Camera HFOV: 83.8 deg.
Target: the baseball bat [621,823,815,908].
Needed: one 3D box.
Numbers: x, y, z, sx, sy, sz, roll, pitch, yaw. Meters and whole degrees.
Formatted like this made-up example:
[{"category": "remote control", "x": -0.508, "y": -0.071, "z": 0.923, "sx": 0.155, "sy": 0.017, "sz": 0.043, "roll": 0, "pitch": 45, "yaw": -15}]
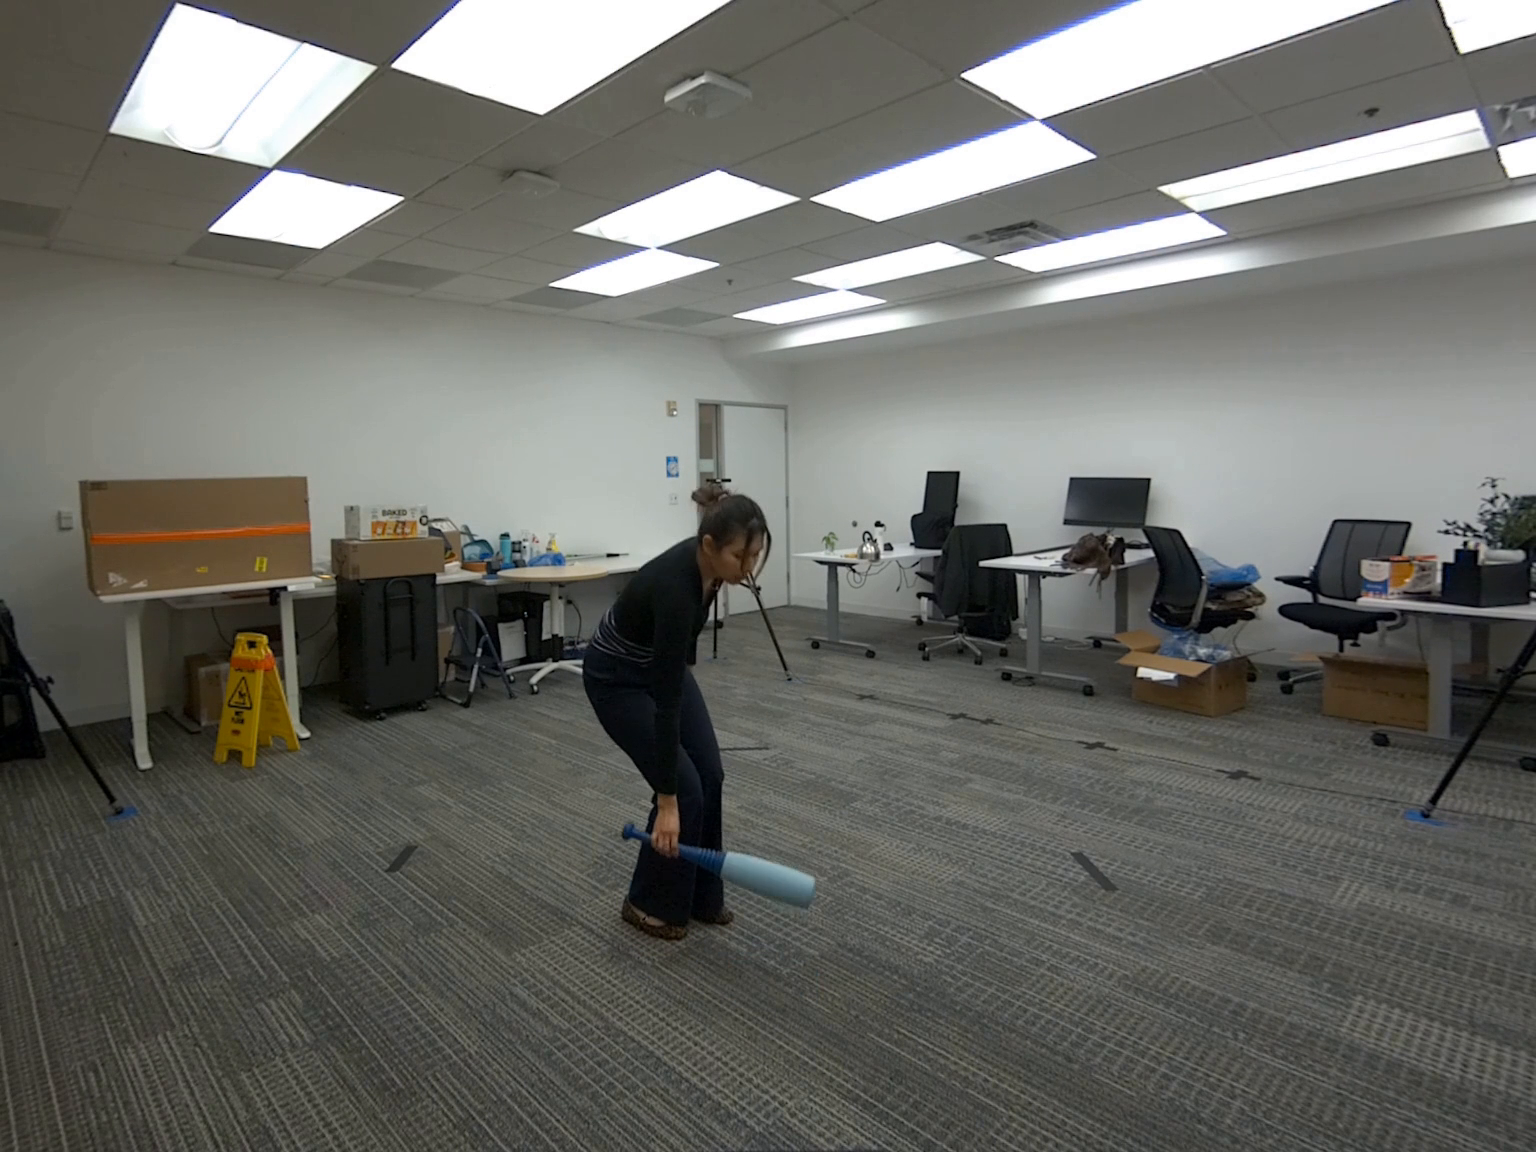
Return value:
[{"category": "baseball bat", "x": -0.126, "y": 0.778, "z": 2.314, "sx": 0.548, "sy": 0.089, "sz": 0.088, "roll": 15, "pitch": 7, "yaw": 8}]
